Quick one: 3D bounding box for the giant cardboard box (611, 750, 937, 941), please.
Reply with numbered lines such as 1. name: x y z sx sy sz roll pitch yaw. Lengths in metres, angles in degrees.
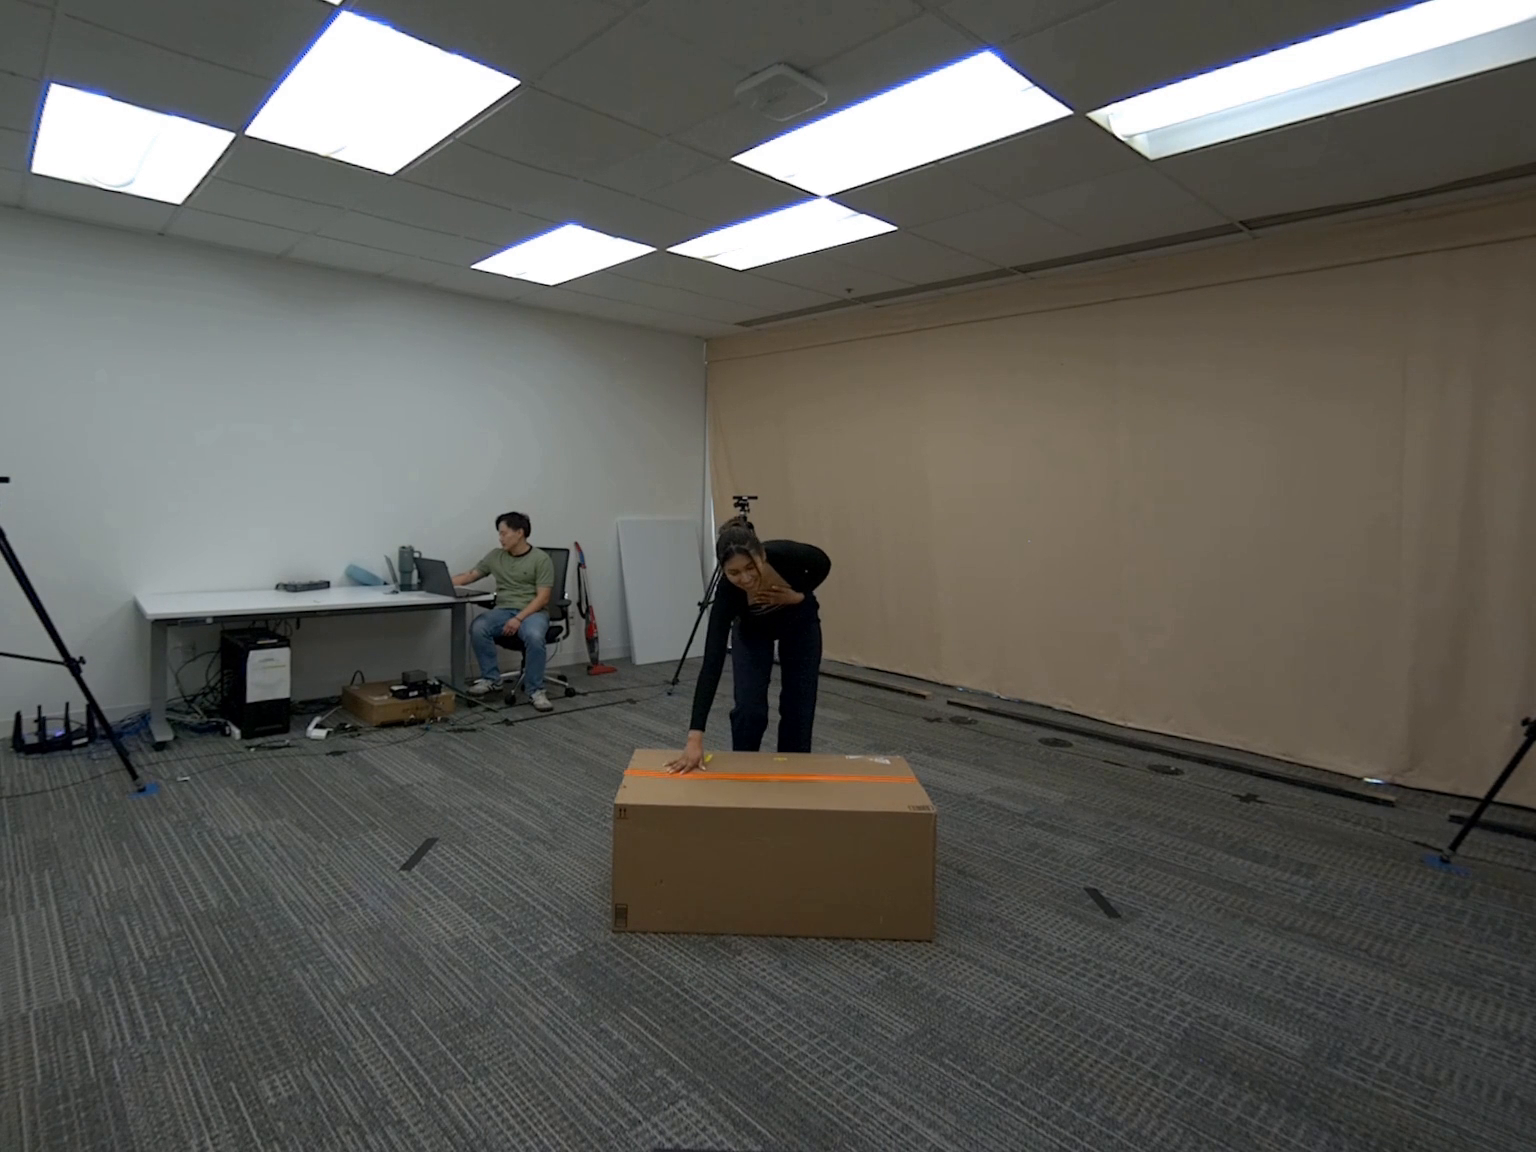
1. giant cardboard box: 0.004 0.906 2.934 1.026 0.425 0.579 1 4 0
